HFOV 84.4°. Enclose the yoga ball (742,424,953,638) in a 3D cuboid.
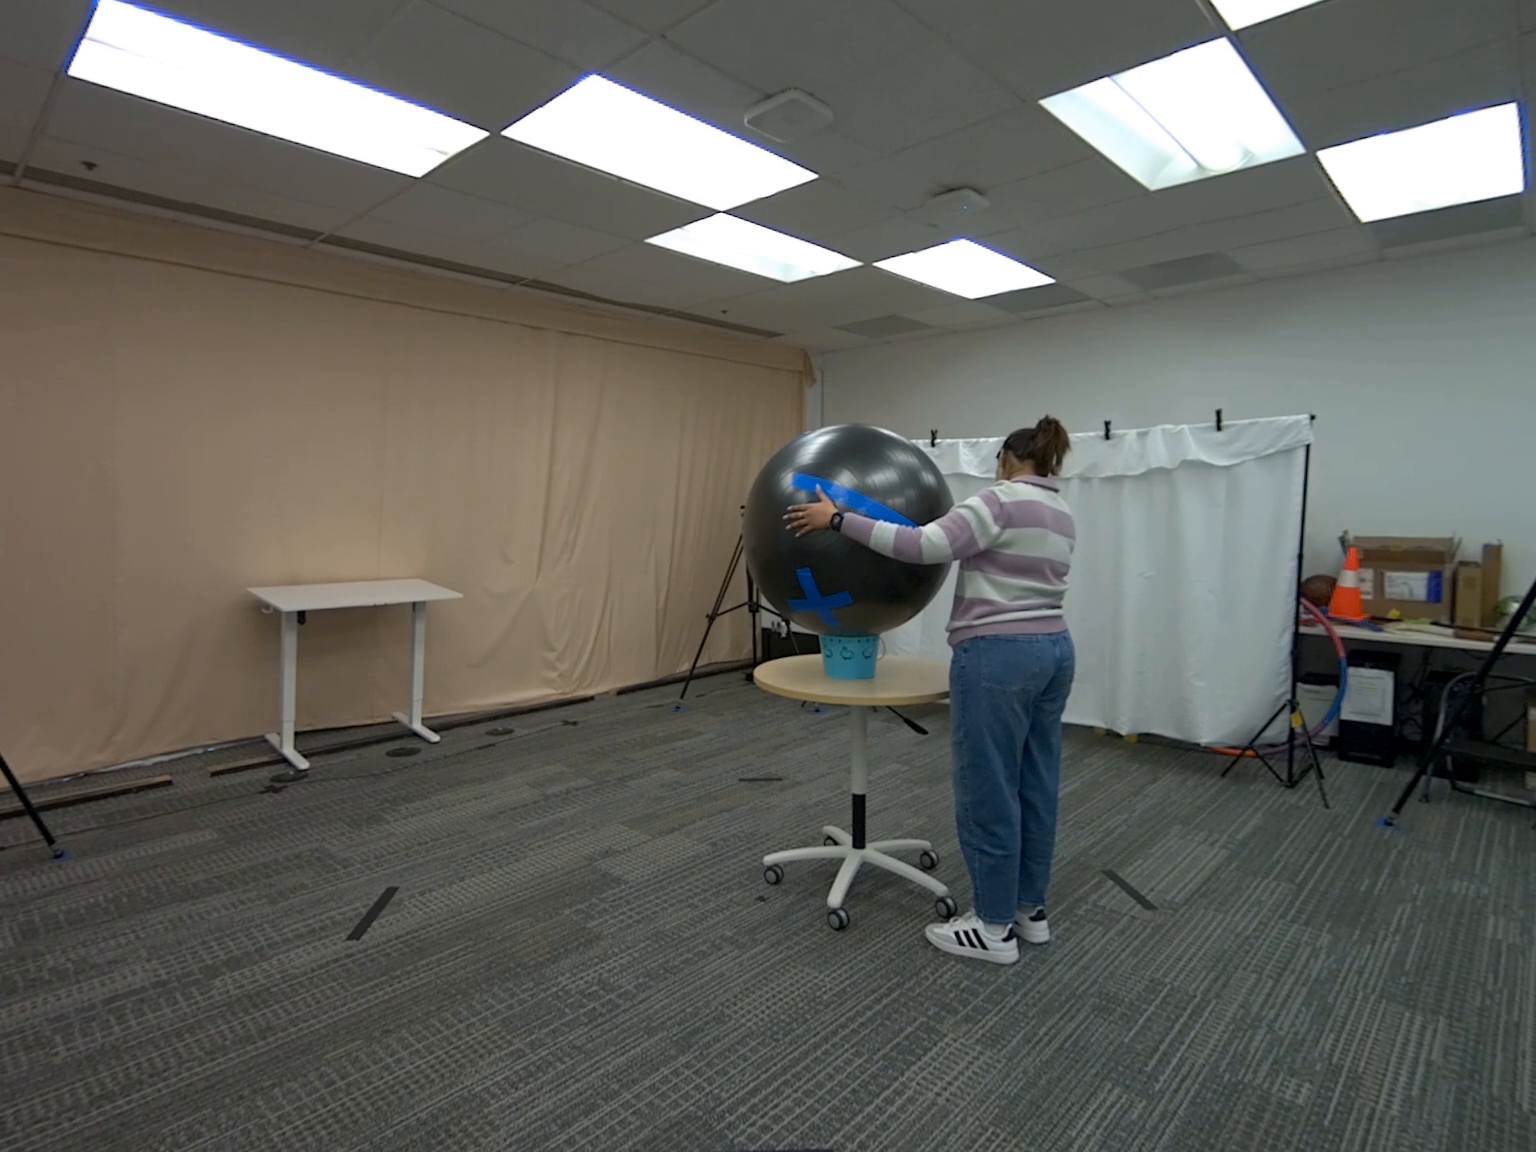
[{"bbox_3d":[0.288,-0.157,3.012,0.757,0.756,0.760,0,4,-2],"label":"yoga ball"}]
